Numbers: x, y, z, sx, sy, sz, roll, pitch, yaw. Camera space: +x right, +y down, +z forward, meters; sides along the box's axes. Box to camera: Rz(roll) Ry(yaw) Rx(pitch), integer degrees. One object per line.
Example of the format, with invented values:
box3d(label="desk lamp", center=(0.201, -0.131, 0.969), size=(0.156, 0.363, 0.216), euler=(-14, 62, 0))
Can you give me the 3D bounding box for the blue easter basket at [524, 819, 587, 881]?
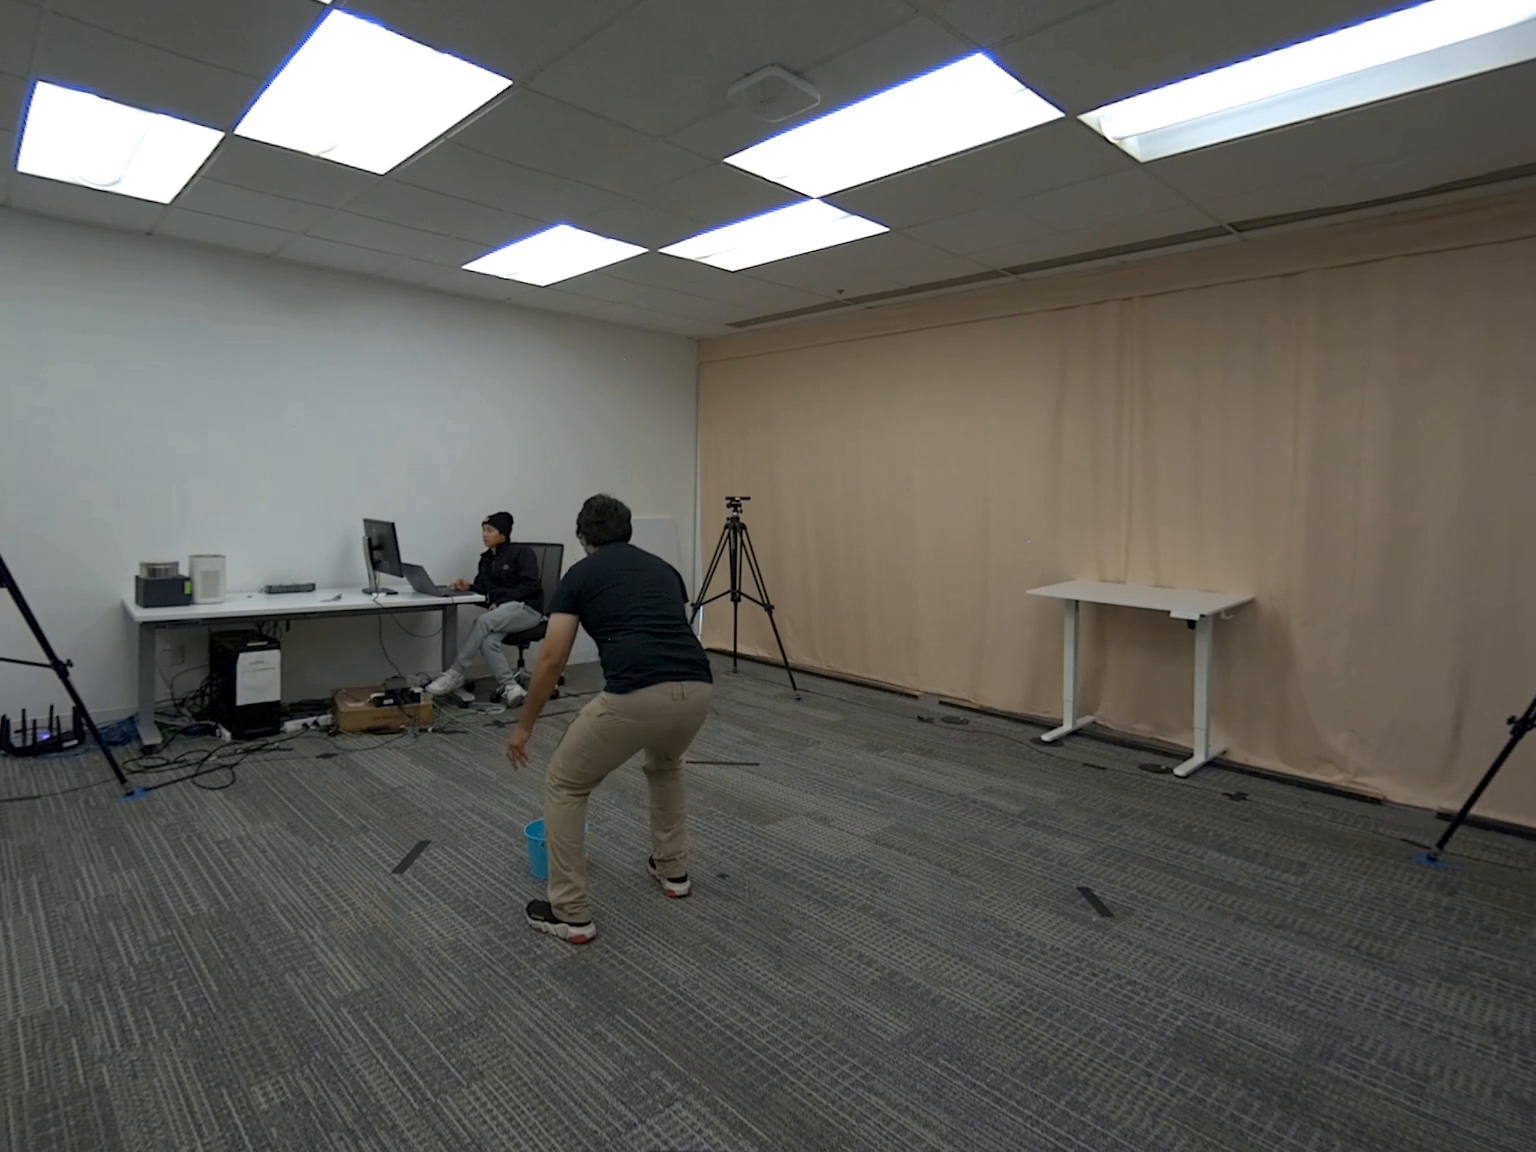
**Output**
box3d(label="blue easter basket", center=(-0.792, 1.015, 3.128), size=(0.243, 0.155, 0.244), euler=(1, 4, -1))
